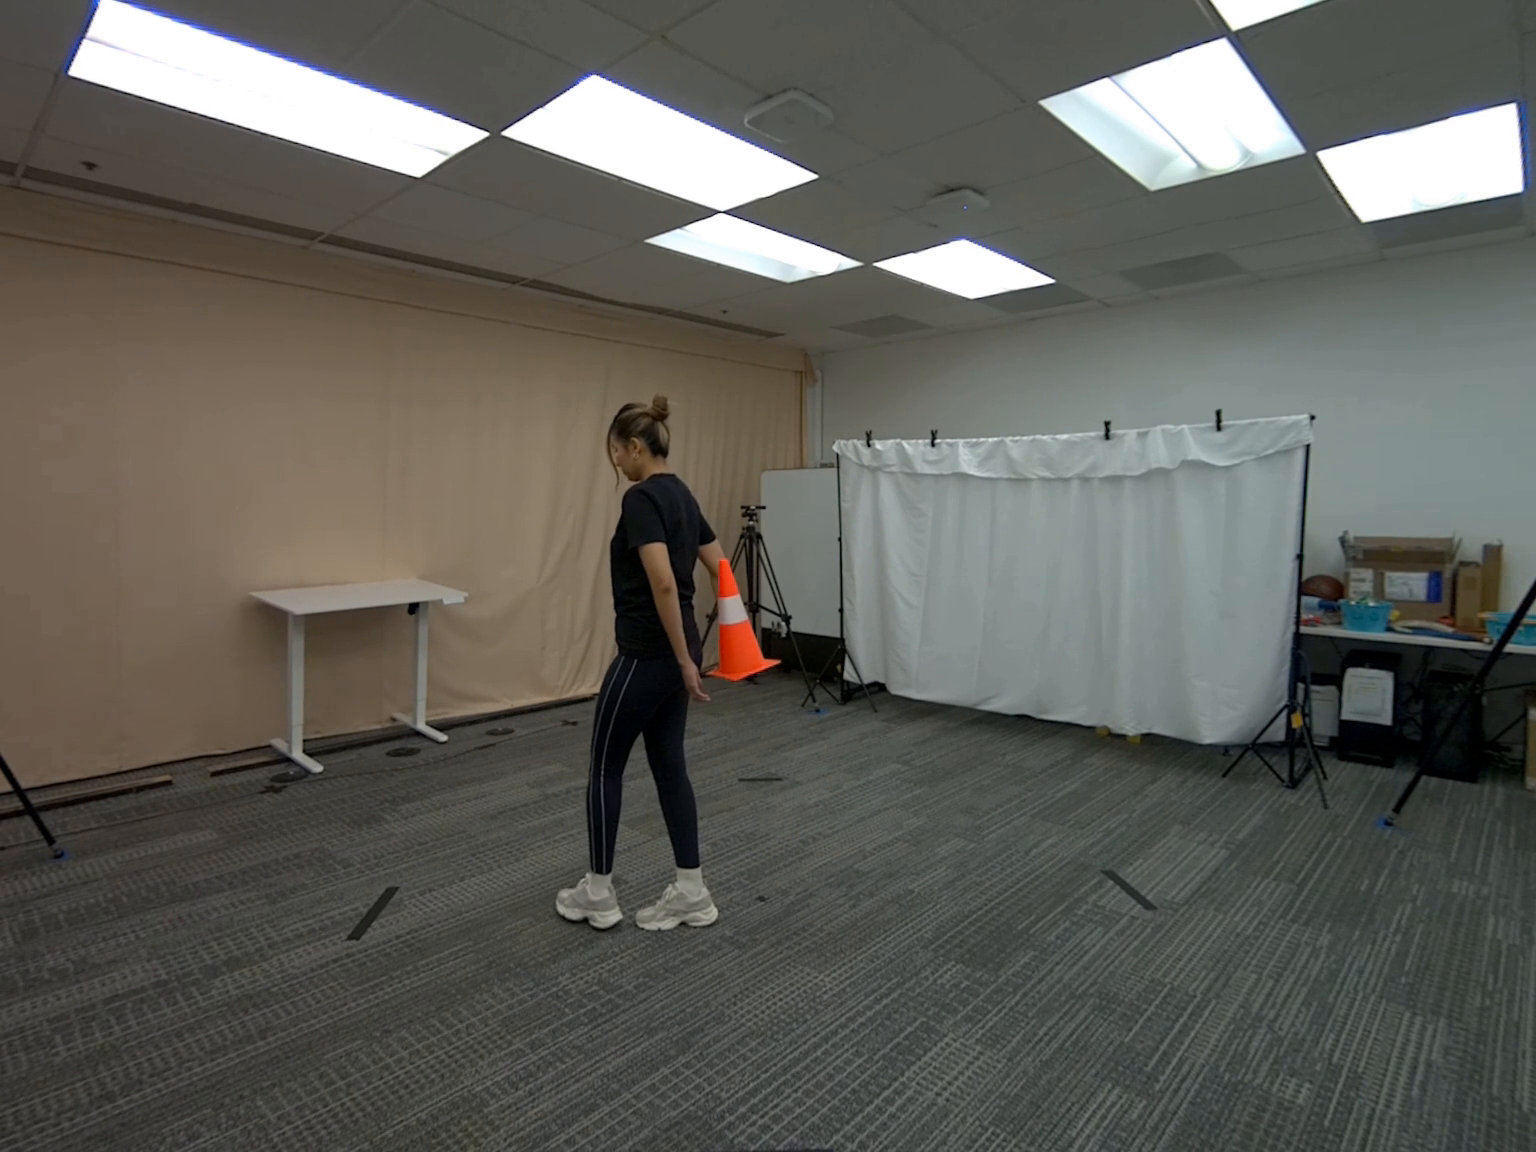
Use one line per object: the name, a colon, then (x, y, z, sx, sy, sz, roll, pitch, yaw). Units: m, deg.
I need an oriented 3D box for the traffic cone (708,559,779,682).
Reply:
traffic cone: (-0.127, 0.132, 2.866, 0.200, 0.382, 0.209, -12, 6, -18)
